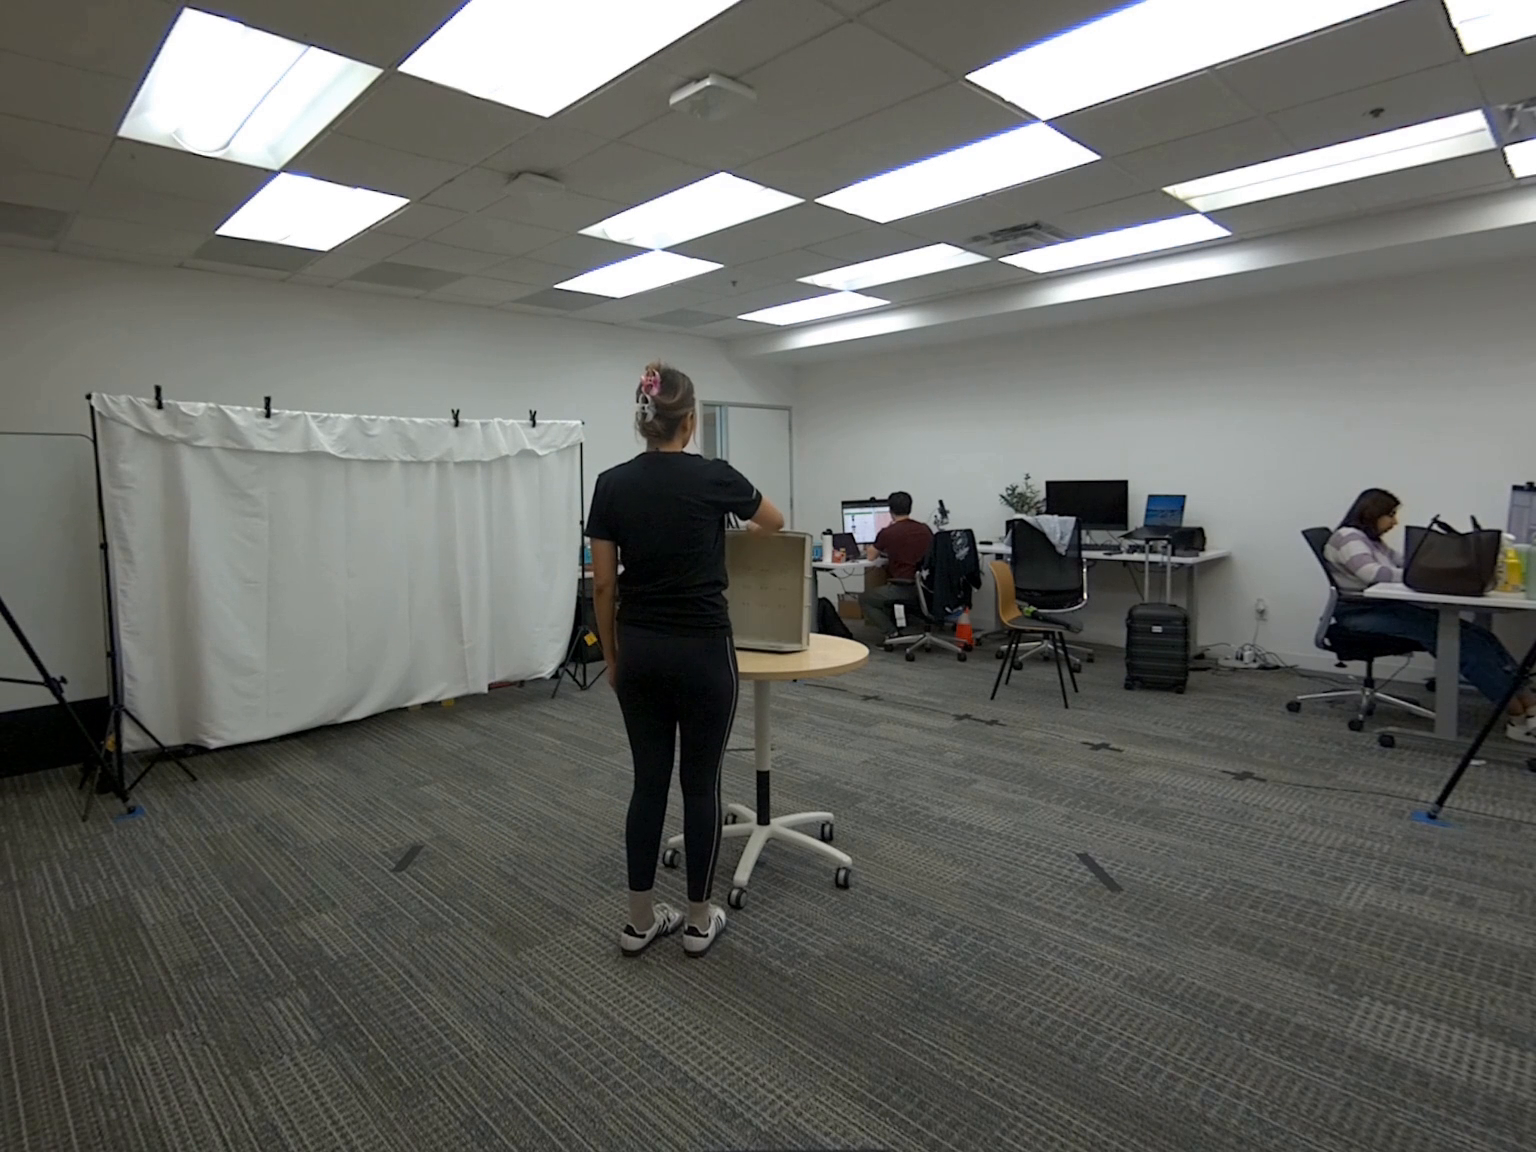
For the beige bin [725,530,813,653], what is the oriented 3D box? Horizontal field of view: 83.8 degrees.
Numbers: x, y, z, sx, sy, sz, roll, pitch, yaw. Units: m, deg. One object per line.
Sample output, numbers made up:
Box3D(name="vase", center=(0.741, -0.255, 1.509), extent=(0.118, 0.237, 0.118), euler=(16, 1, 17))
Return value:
Box3D(name="beige bin", center=(-0.031, 0.043, 3.121), extent=(0.388, 0.423, 0.184), euler=(2, -1, 32))
